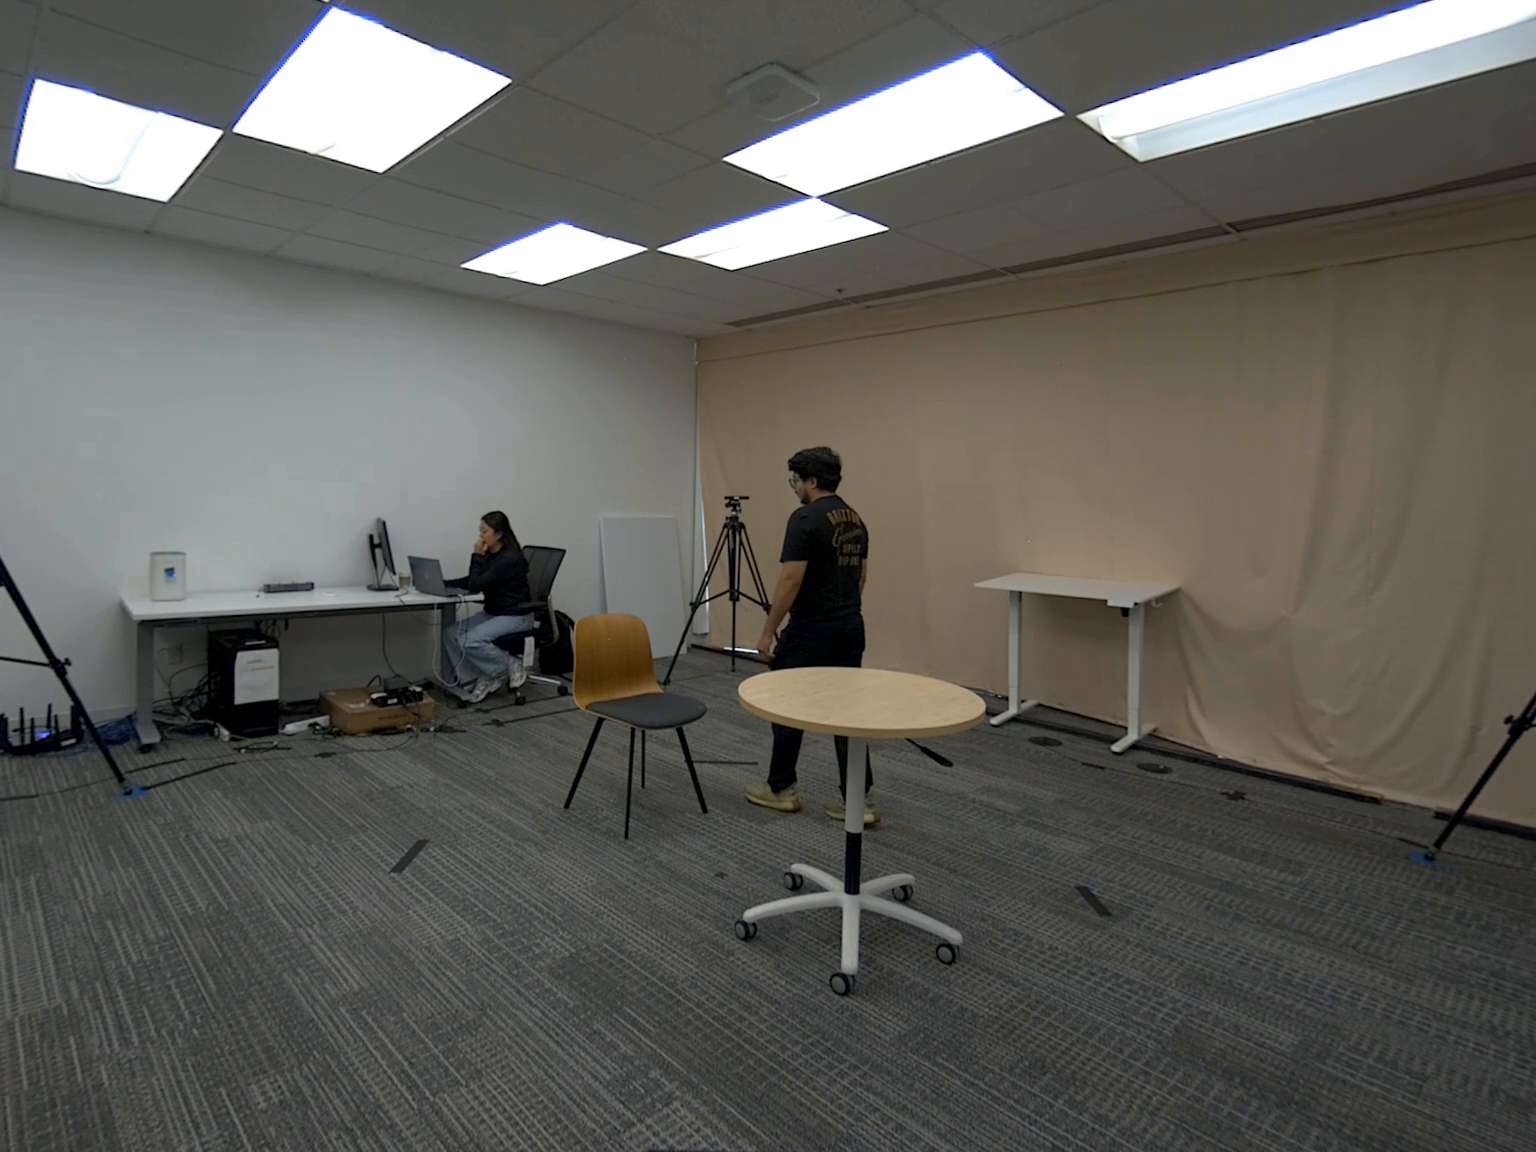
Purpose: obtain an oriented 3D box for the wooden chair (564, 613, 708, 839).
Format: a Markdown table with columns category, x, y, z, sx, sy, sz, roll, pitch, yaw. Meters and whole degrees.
| category | x | y | z | sx | sy | sz | roll | pitch | yaw |
| --- | --- | --- | --- | --- | --- | --- | --- | --- | --- |
| wooden chair | -0.569 | 0.613 | 3.678 | 0.535 | 0.878 | 0.467 | -1 | 0 | 45 |
